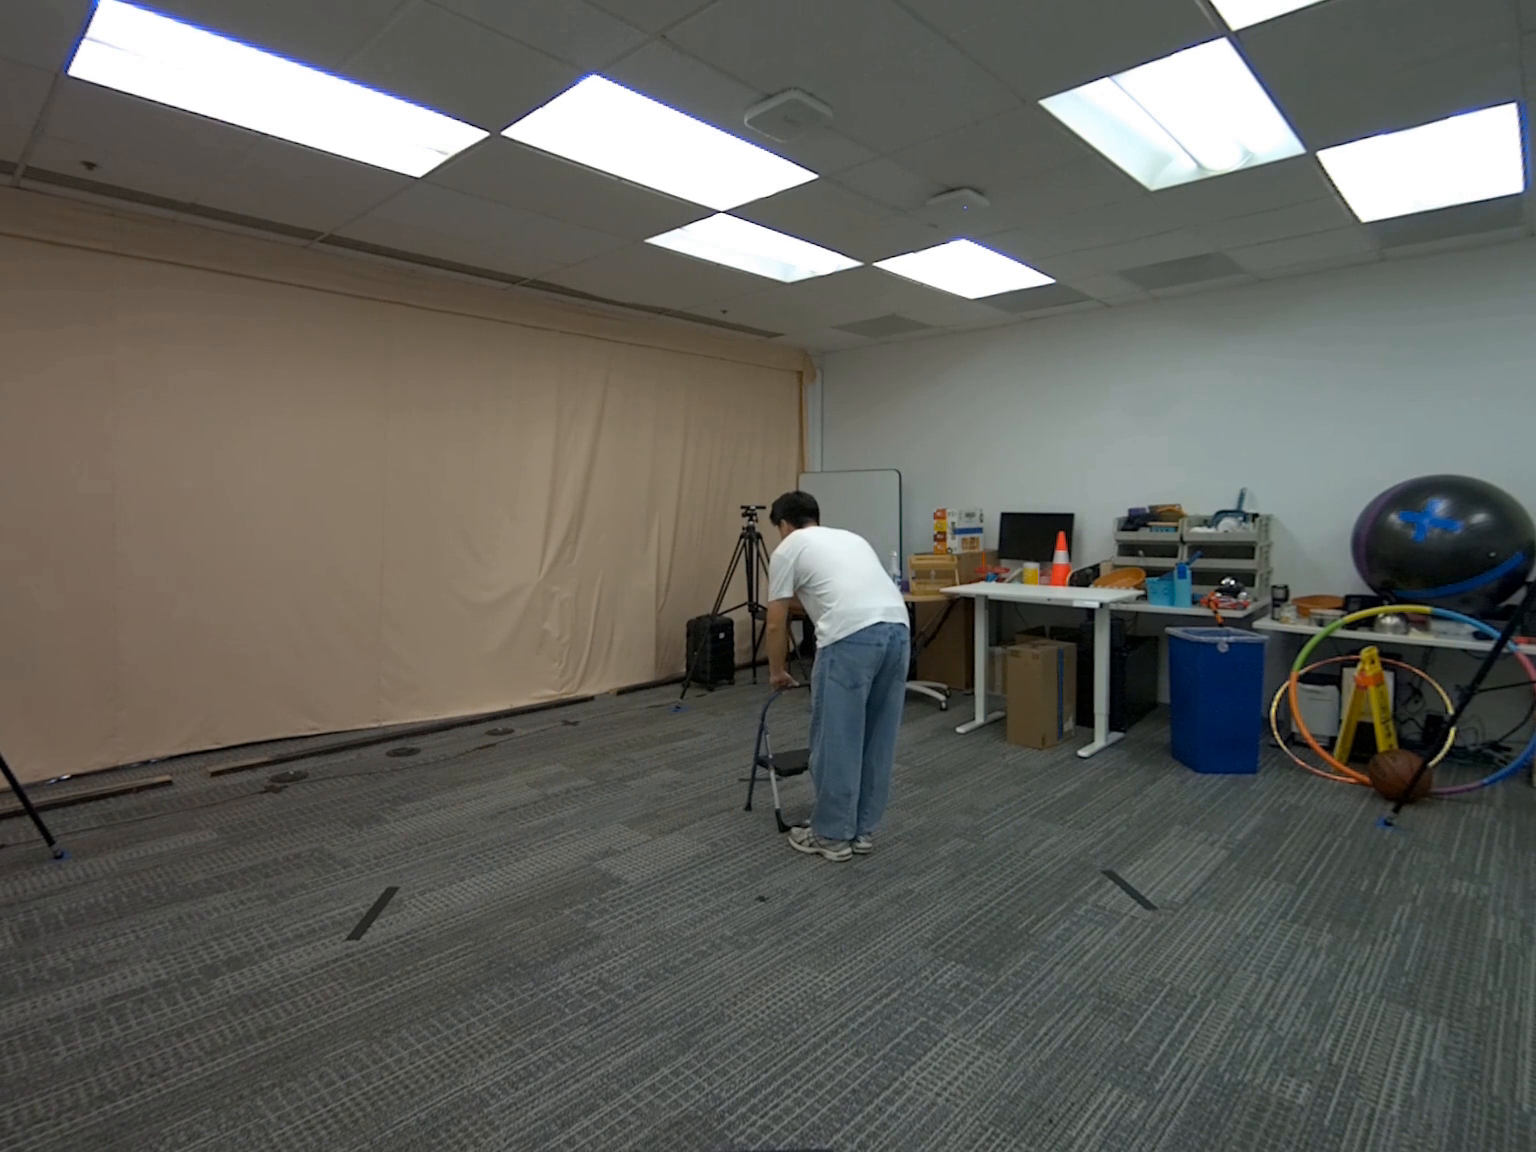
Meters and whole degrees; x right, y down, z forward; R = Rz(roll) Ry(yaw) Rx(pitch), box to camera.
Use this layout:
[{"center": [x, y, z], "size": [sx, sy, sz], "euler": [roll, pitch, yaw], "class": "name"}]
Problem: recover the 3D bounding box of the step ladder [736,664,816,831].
[{"center": [0.139, 0.747, 3.811], "size": [0.420, 0.605, 0.358], "euler": [-4, 4, -27], "class": "step ladder"}]
